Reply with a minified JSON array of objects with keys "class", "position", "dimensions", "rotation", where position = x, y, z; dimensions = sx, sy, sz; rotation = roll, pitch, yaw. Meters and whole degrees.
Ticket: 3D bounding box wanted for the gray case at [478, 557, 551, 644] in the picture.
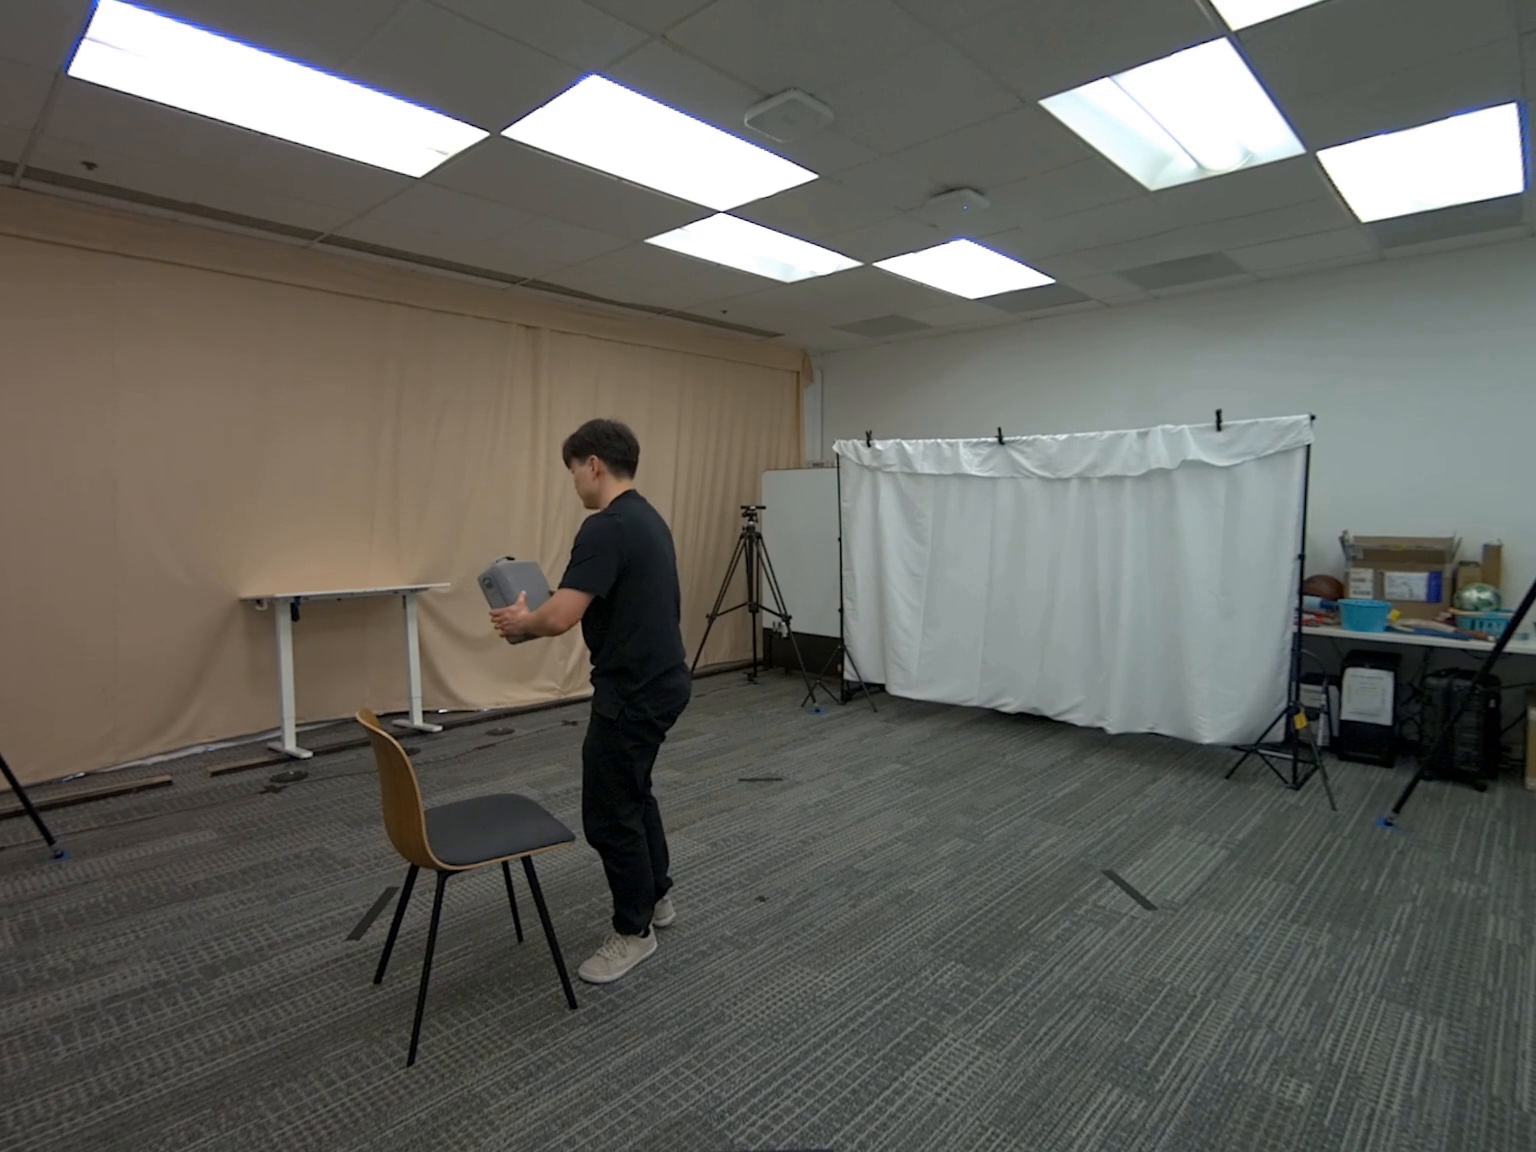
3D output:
[{"class":"gray case","position":[-0.767,0.078,2.654],"dimensions":[0.105,0.262,0.253],"rotation":[-28,-5,12]}]
